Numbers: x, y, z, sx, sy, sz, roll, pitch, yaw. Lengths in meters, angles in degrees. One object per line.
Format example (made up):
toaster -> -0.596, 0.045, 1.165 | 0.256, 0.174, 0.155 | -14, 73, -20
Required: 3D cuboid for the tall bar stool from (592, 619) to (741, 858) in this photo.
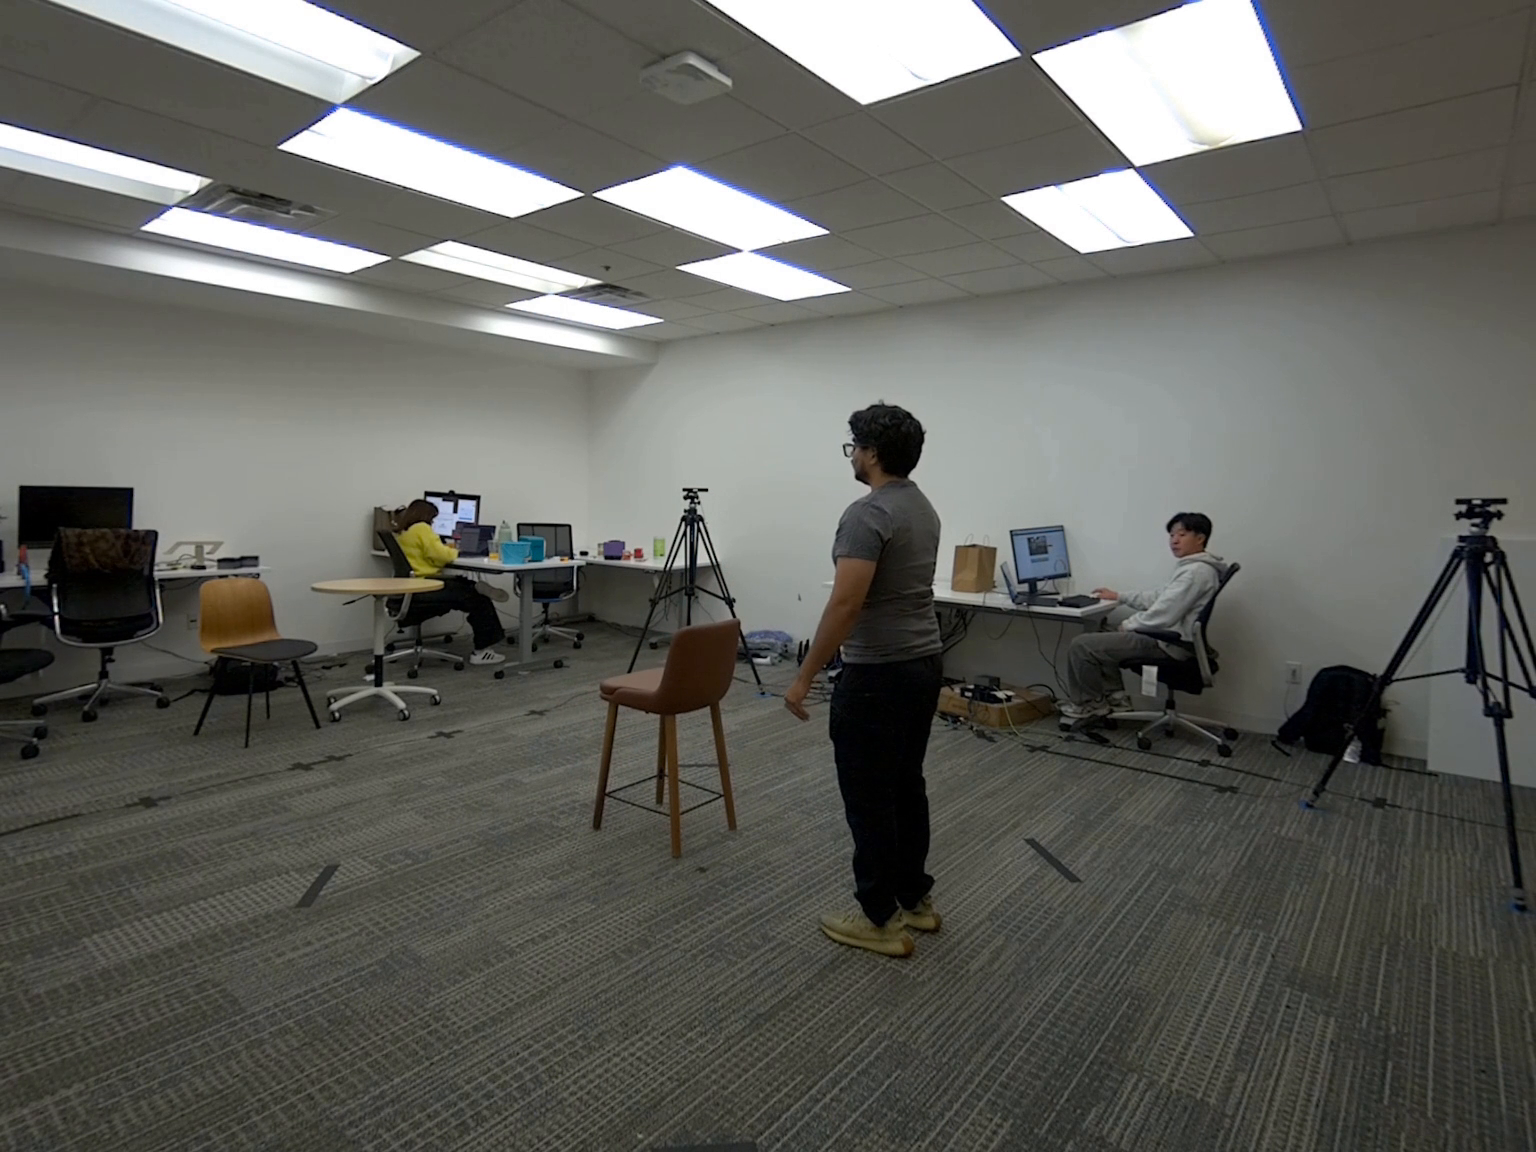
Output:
tall bar stool -> -0.417, 0.598, 3.458 | 0.483, 0.887, 0.443 | 5, 5, 37
